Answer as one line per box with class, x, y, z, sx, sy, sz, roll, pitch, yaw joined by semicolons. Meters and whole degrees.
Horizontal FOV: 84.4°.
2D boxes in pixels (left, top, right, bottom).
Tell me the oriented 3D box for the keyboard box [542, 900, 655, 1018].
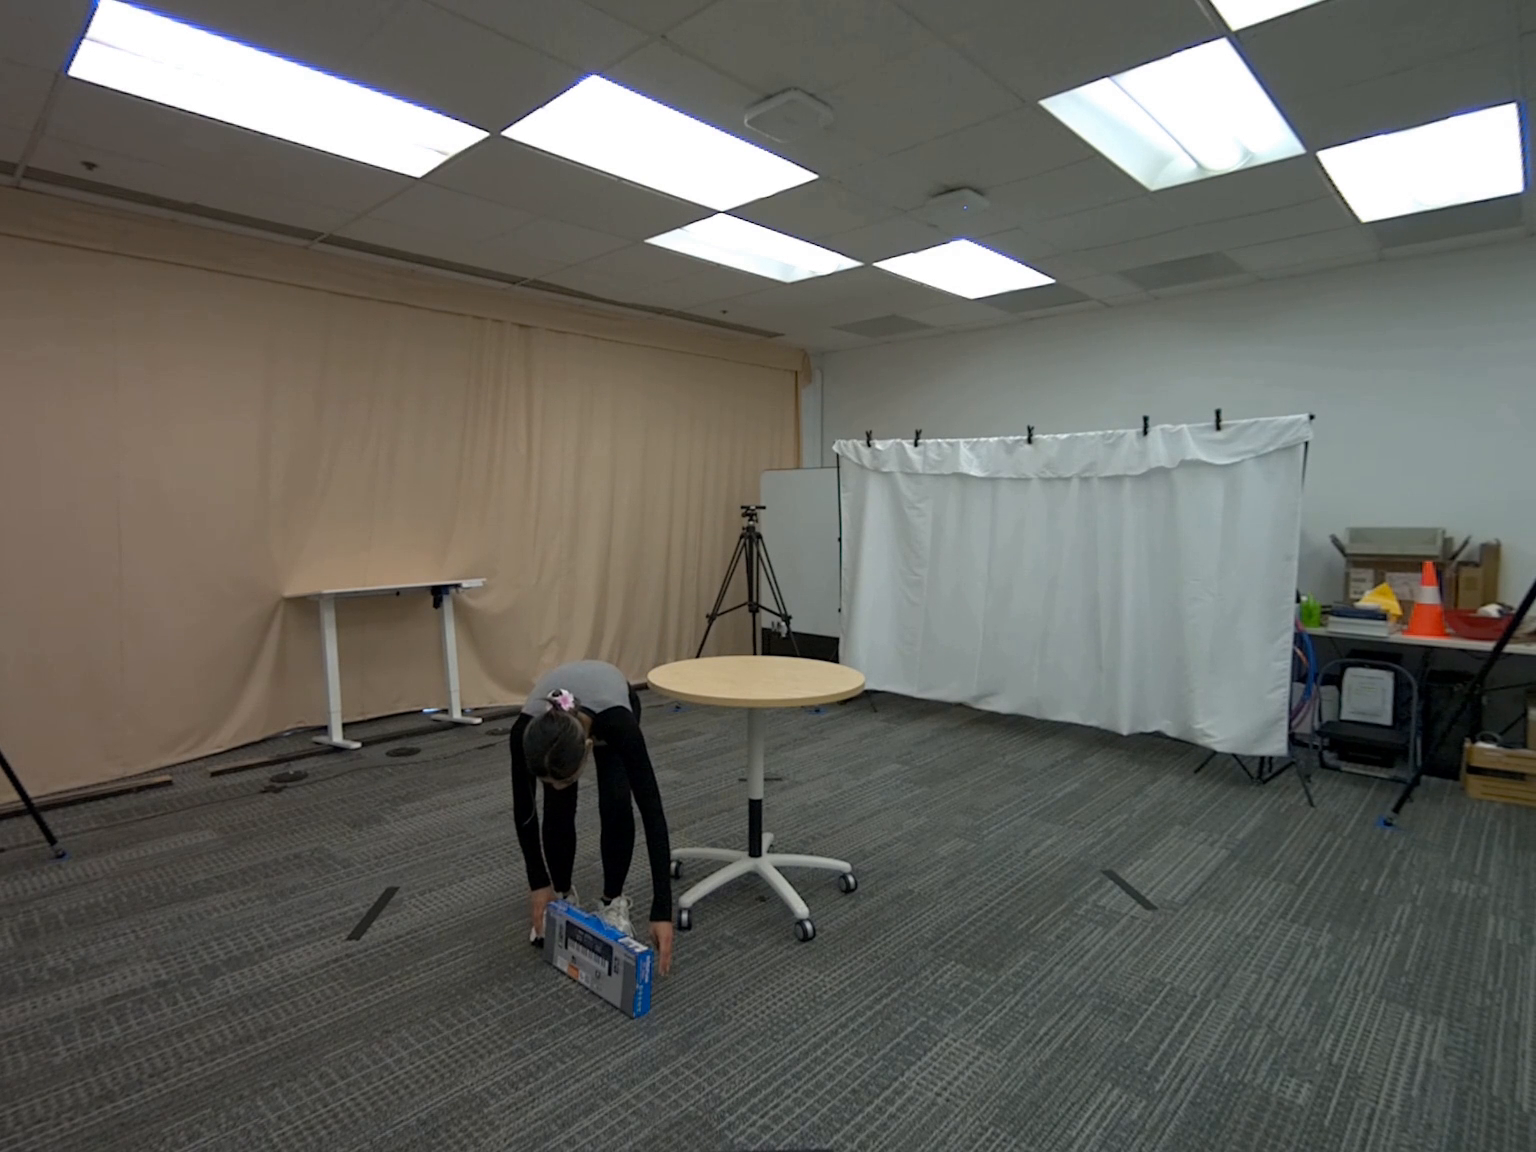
keyboard box;-0.501;1.103;2.453;0.451;0.176;0.057;4;-1;43
